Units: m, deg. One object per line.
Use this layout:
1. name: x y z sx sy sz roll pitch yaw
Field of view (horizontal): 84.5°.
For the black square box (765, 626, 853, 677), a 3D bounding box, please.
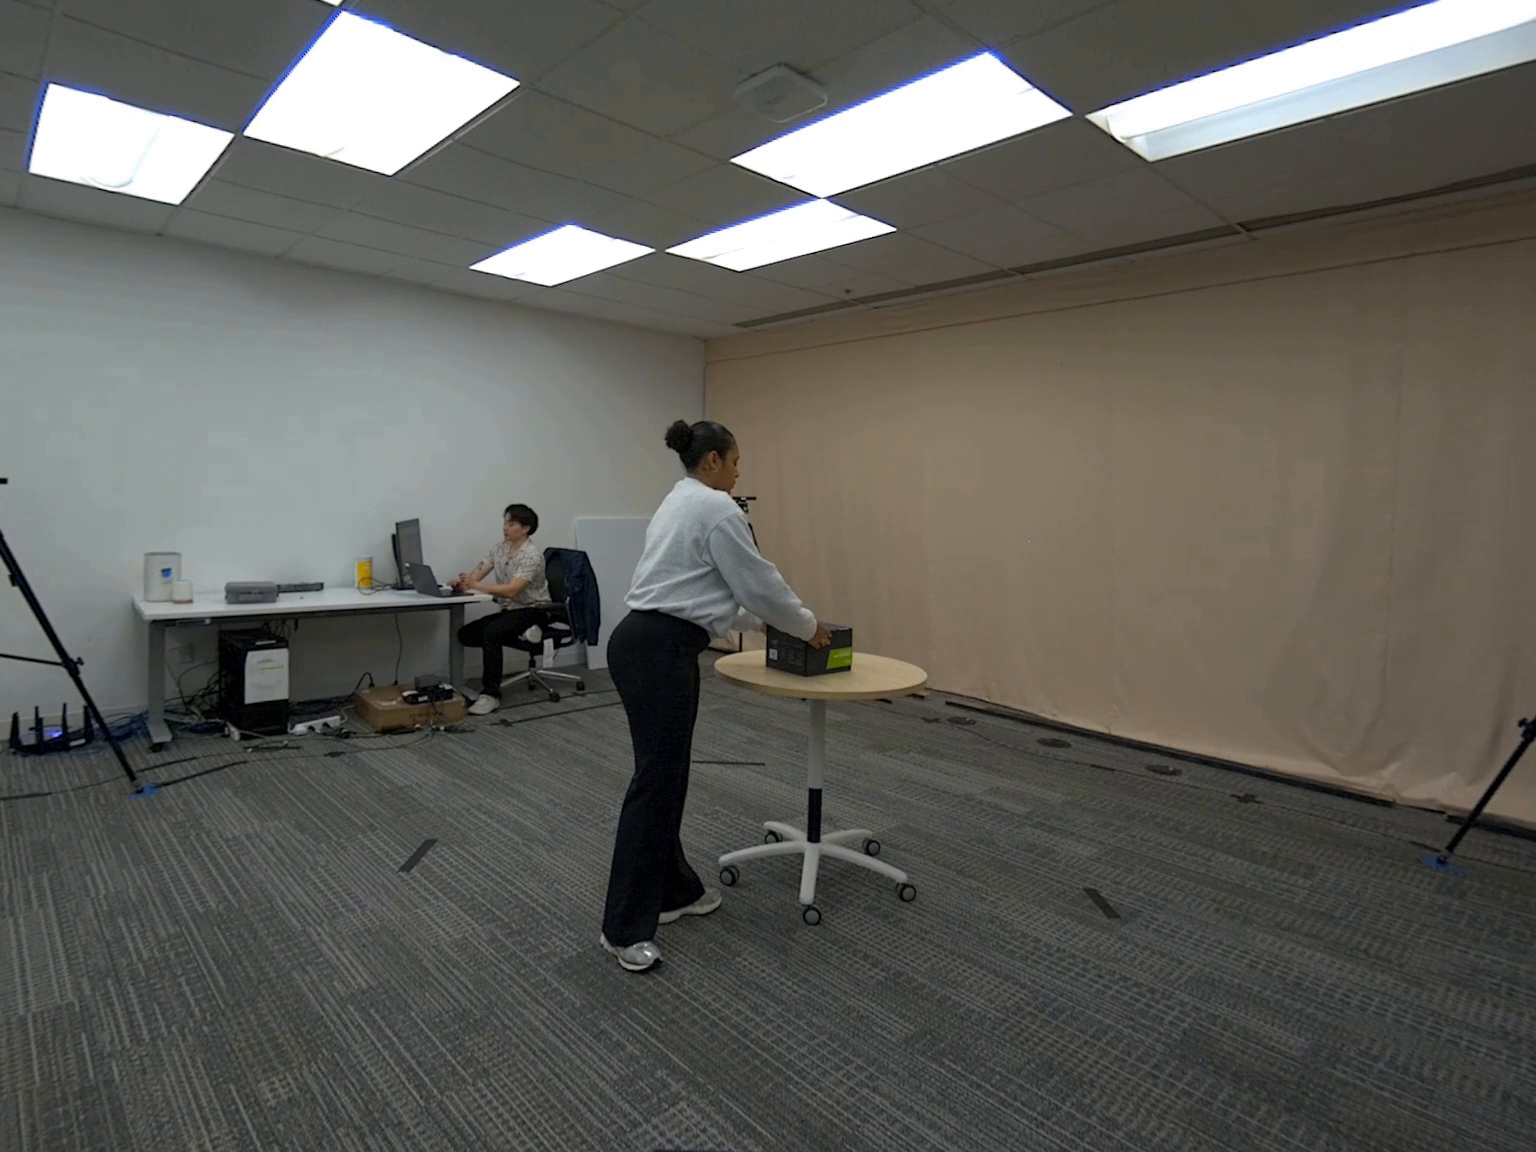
1. black square box: 0.144 0.252 3.035 0.223 0.155 0.222 -3 7 -39
